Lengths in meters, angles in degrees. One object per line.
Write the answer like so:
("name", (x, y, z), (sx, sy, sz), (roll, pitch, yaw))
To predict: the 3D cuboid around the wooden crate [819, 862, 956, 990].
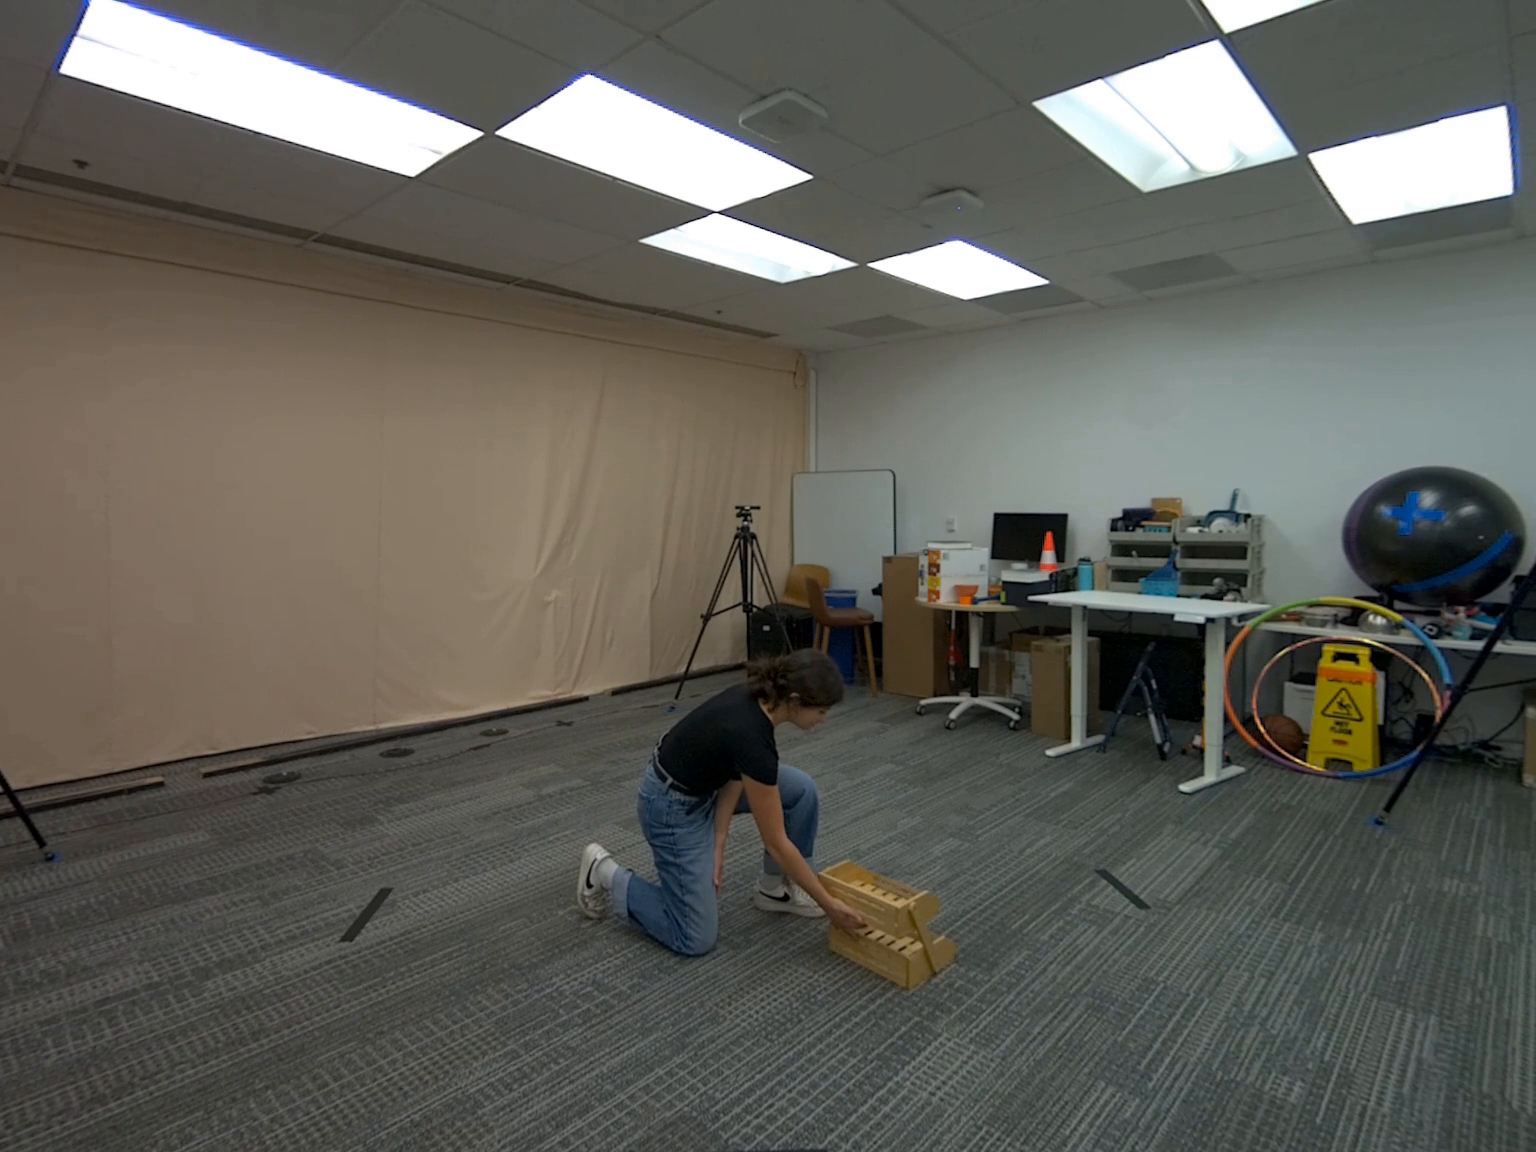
("wooden crate", (0.374, 1.047, 2.580), (0.293, 0.272, 0.335), (-5, 6, -44))
